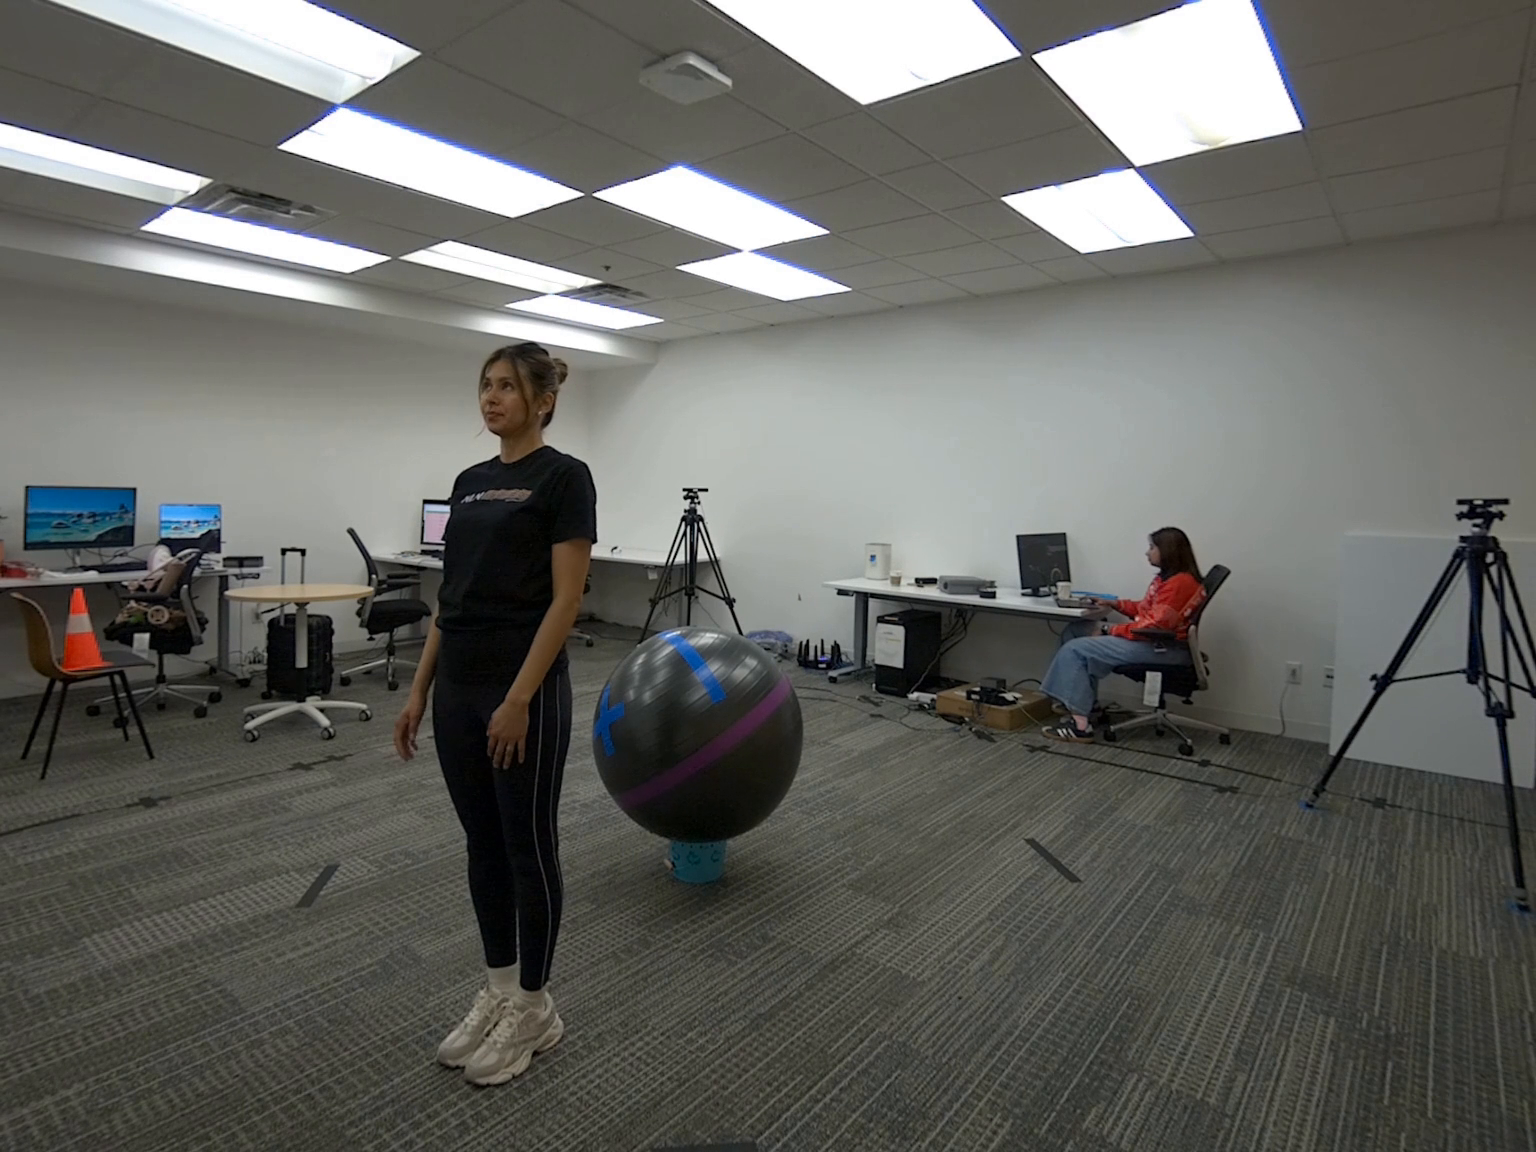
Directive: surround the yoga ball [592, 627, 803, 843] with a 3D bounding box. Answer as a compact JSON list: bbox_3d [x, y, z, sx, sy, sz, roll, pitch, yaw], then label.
[{"bbox_3d":[-0.262,0.563,3.067,0.757,0.755,0.762,1,4,-2],"label":"yoga ball"}]
